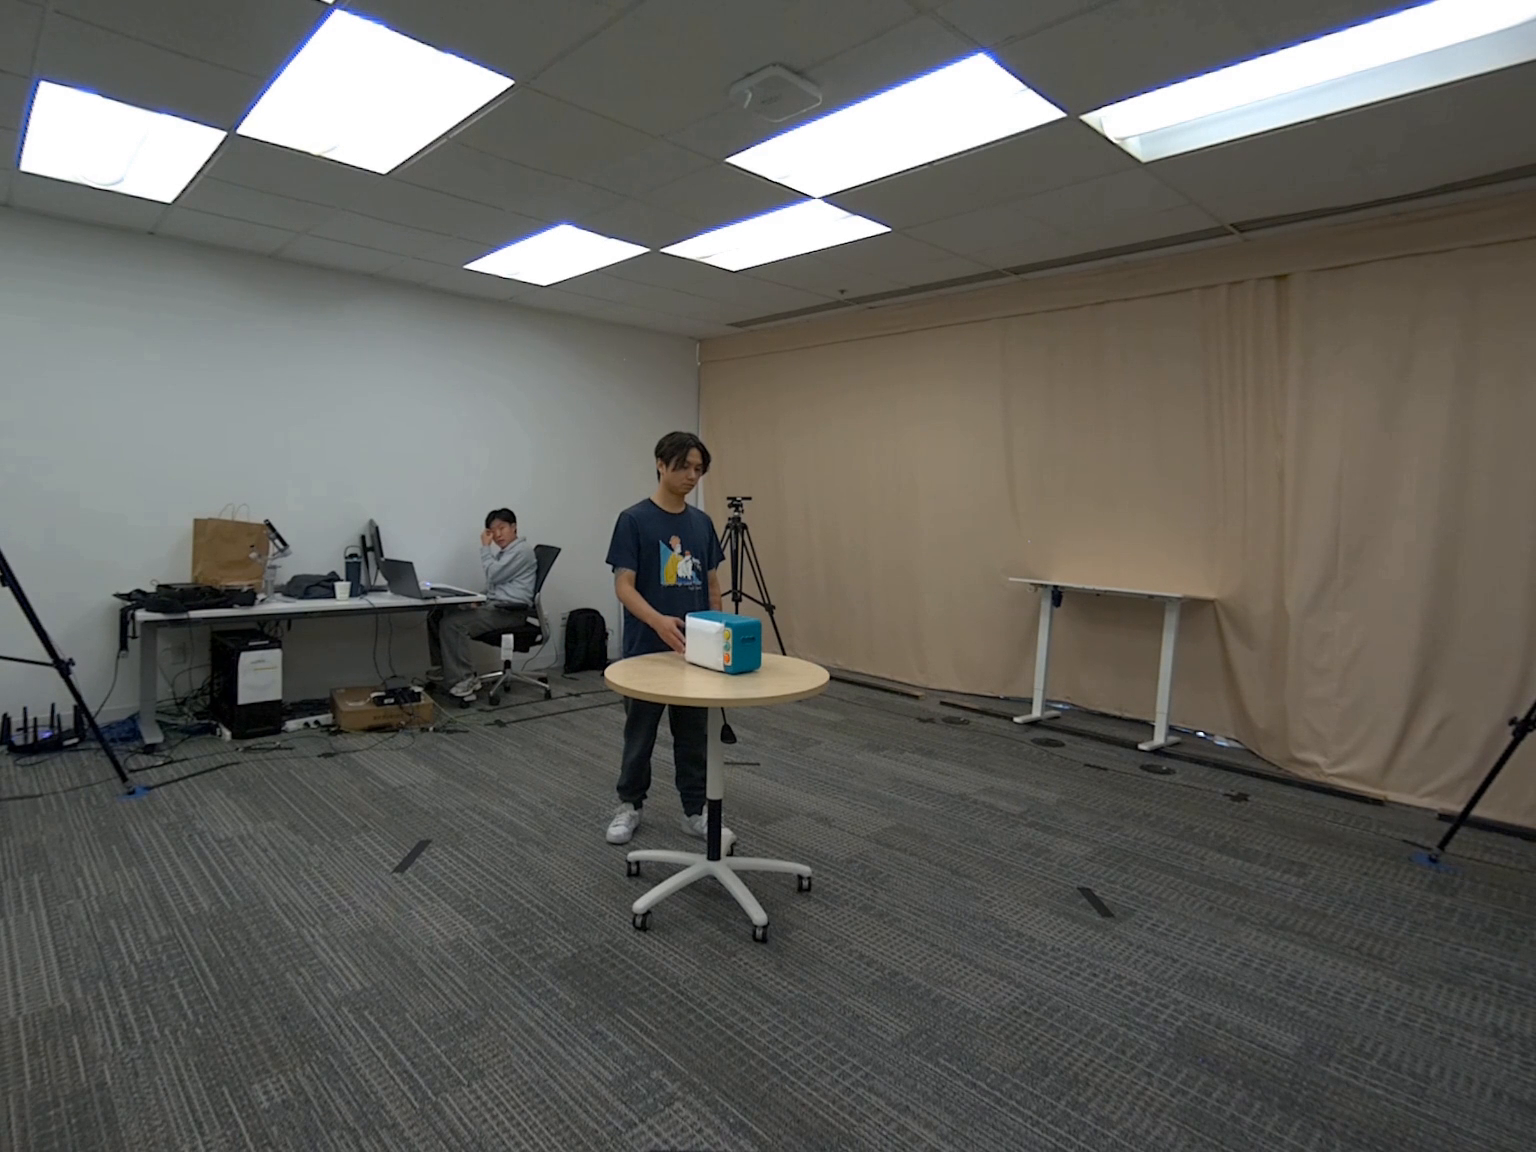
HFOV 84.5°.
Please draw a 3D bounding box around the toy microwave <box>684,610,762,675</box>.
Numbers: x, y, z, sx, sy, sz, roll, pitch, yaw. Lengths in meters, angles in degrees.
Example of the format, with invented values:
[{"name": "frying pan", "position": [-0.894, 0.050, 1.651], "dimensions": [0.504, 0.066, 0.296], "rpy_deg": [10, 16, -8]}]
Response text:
[{"name": "toy microwave", "position": [-0.173, 0.231, 2.931], "dimensions": [0.149, 0.184, 0.293], "rpy_deg": [-2, 5, -42]}]
